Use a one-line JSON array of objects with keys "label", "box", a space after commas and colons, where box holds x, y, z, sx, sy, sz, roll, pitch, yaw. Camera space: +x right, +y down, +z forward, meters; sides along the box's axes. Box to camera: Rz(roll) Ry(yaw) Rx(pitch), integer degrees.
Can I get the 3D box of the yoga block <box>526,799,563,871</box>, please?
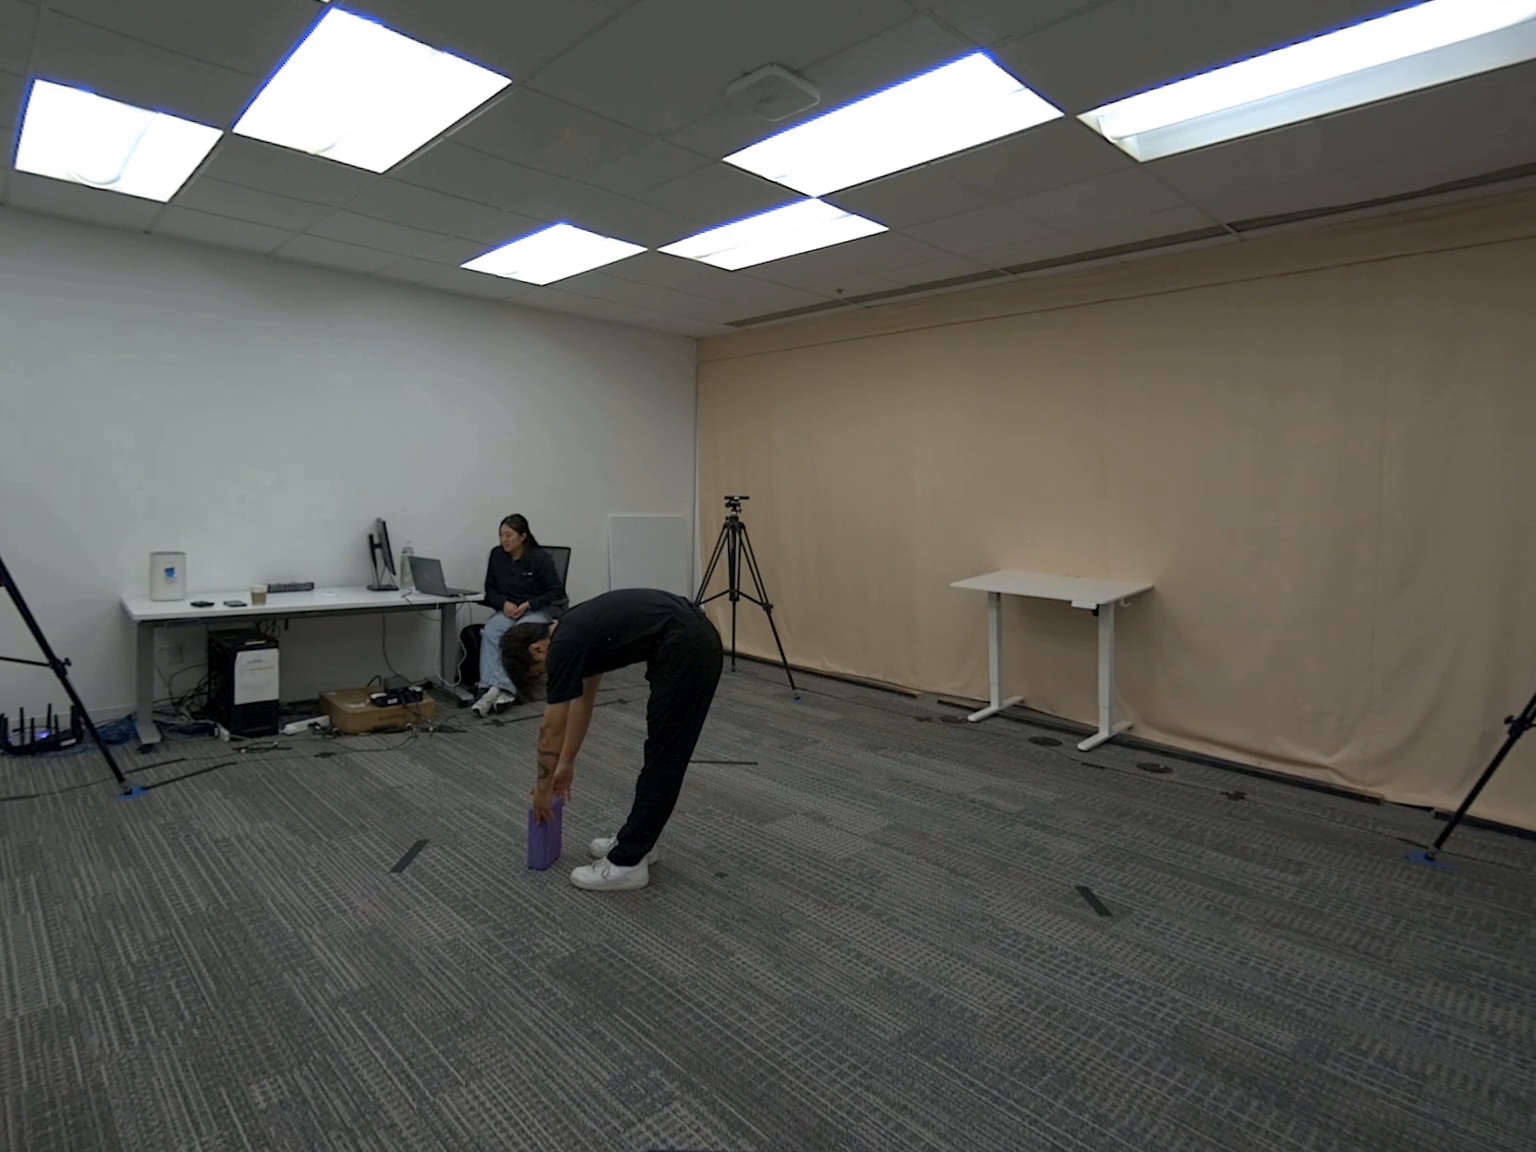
[{"label": "yoga block", "box": [-0.840, 0.962, 3.175, 0.077, 0.229, 0.148, 1, 2, 10]}]
